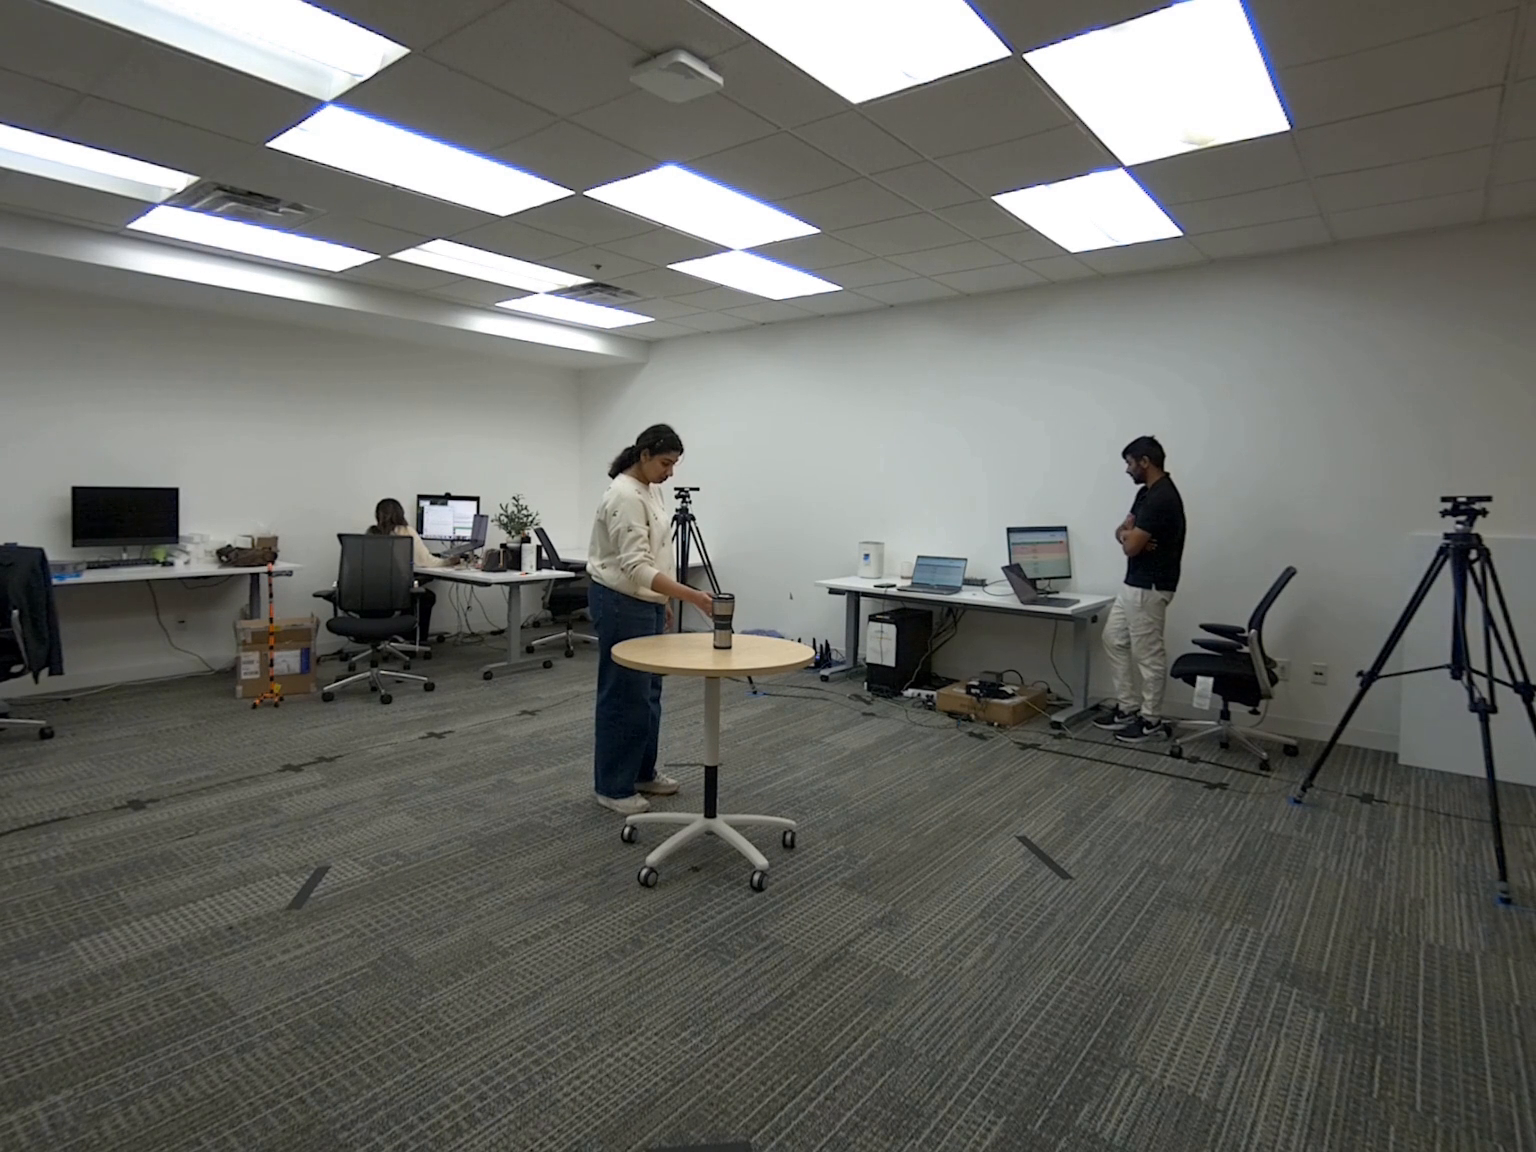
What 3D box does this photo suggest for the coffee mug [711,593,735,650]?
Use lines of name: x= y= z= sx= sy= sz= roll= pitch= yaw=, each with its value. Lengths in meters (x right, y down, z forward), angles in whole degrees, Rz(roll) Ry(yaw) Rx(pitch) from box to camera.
coffee mug: x=-0.176 y=0.171 z=3.254 sx=0.089 sy=0.202 sz=0.121 roll=0 pitch=5 yaw=12
